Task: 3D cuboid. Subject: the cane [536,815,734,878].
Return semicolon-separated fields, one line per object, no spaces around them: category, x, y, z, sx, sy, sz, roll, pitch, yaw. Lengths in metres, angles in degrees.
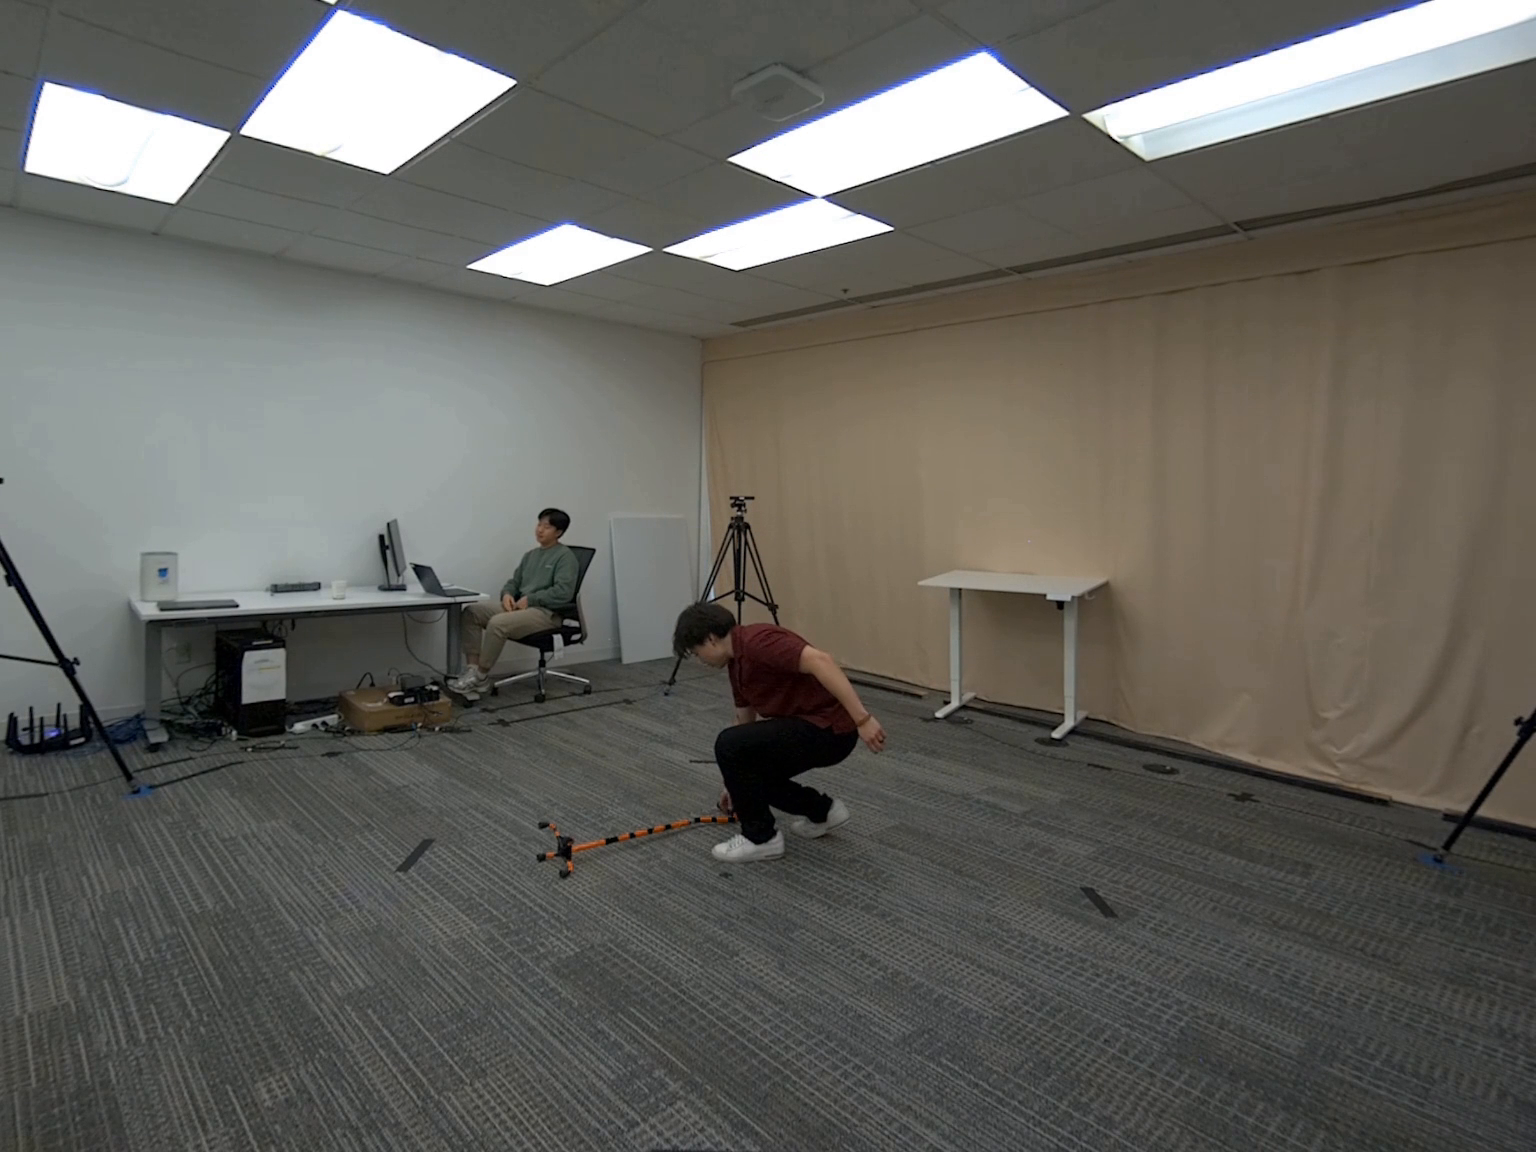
cane;-0.480;1.012;3.406;0.886;0.151;0.212;1;5;-42
